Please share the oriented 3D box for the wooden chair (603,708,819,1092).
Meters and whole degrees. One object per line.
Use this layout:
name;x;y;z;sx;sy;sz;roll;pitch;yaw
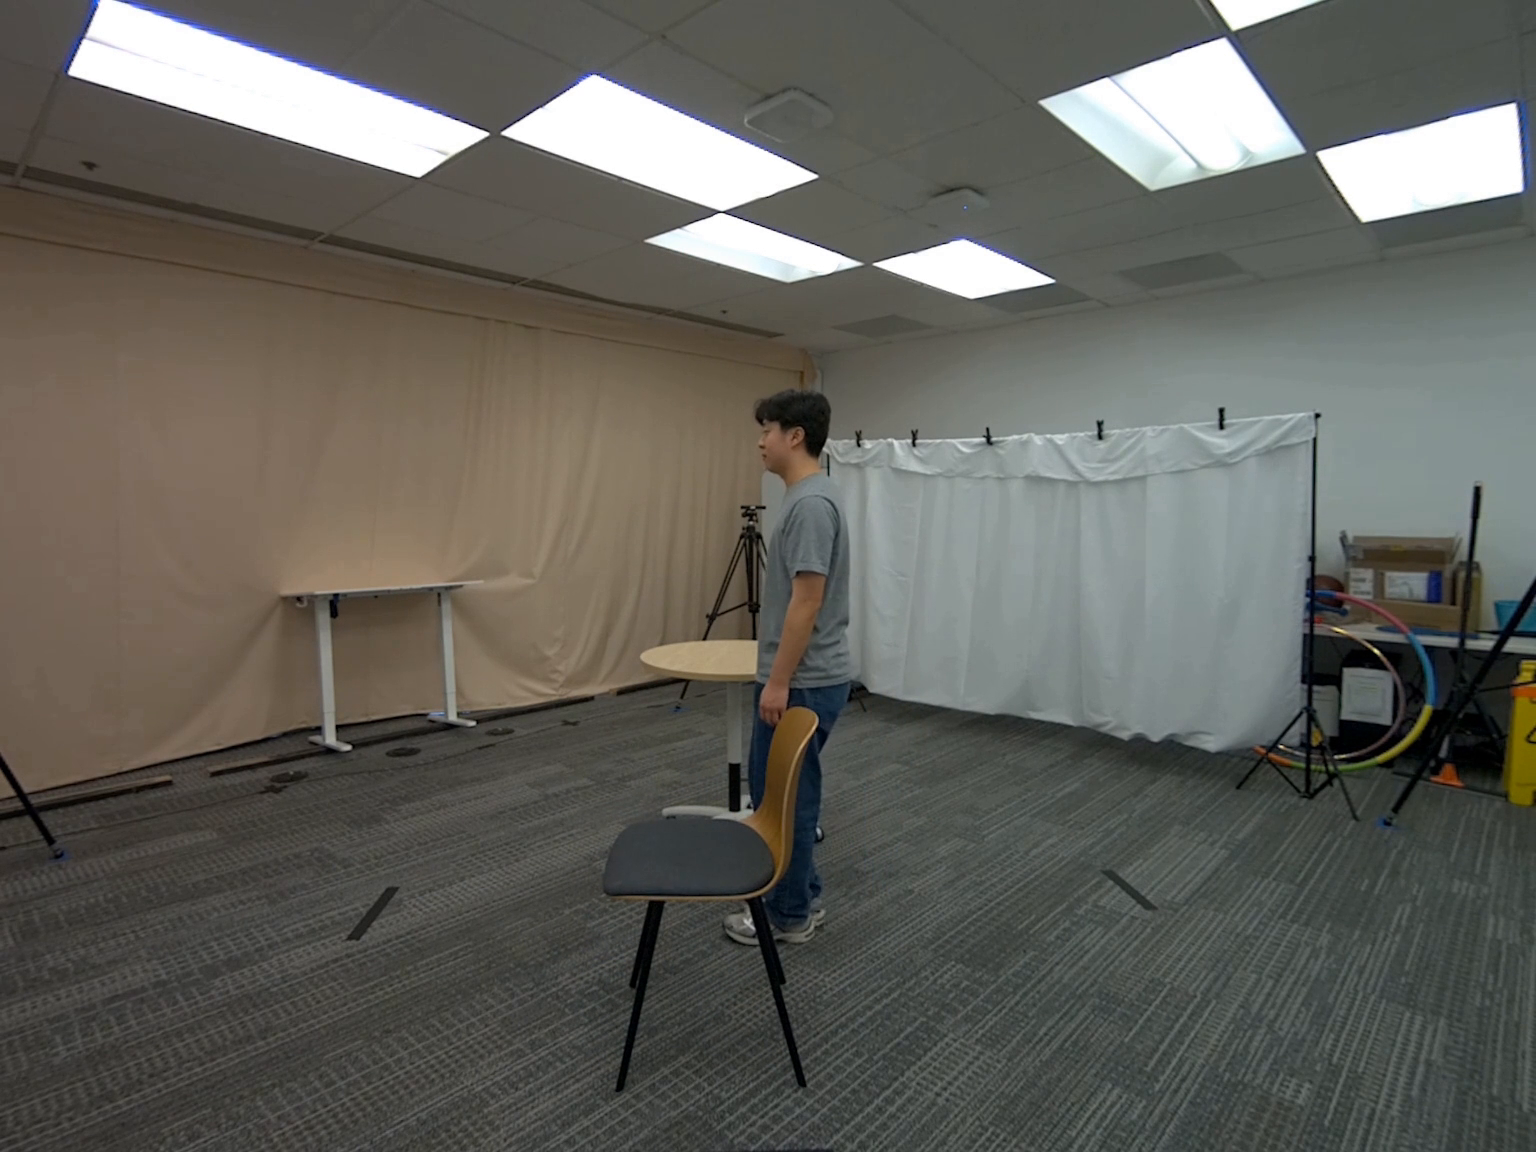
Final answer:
wooden chair;-0.163;0.780;2.203;0.522;0.875;0.480;4;4;-3
